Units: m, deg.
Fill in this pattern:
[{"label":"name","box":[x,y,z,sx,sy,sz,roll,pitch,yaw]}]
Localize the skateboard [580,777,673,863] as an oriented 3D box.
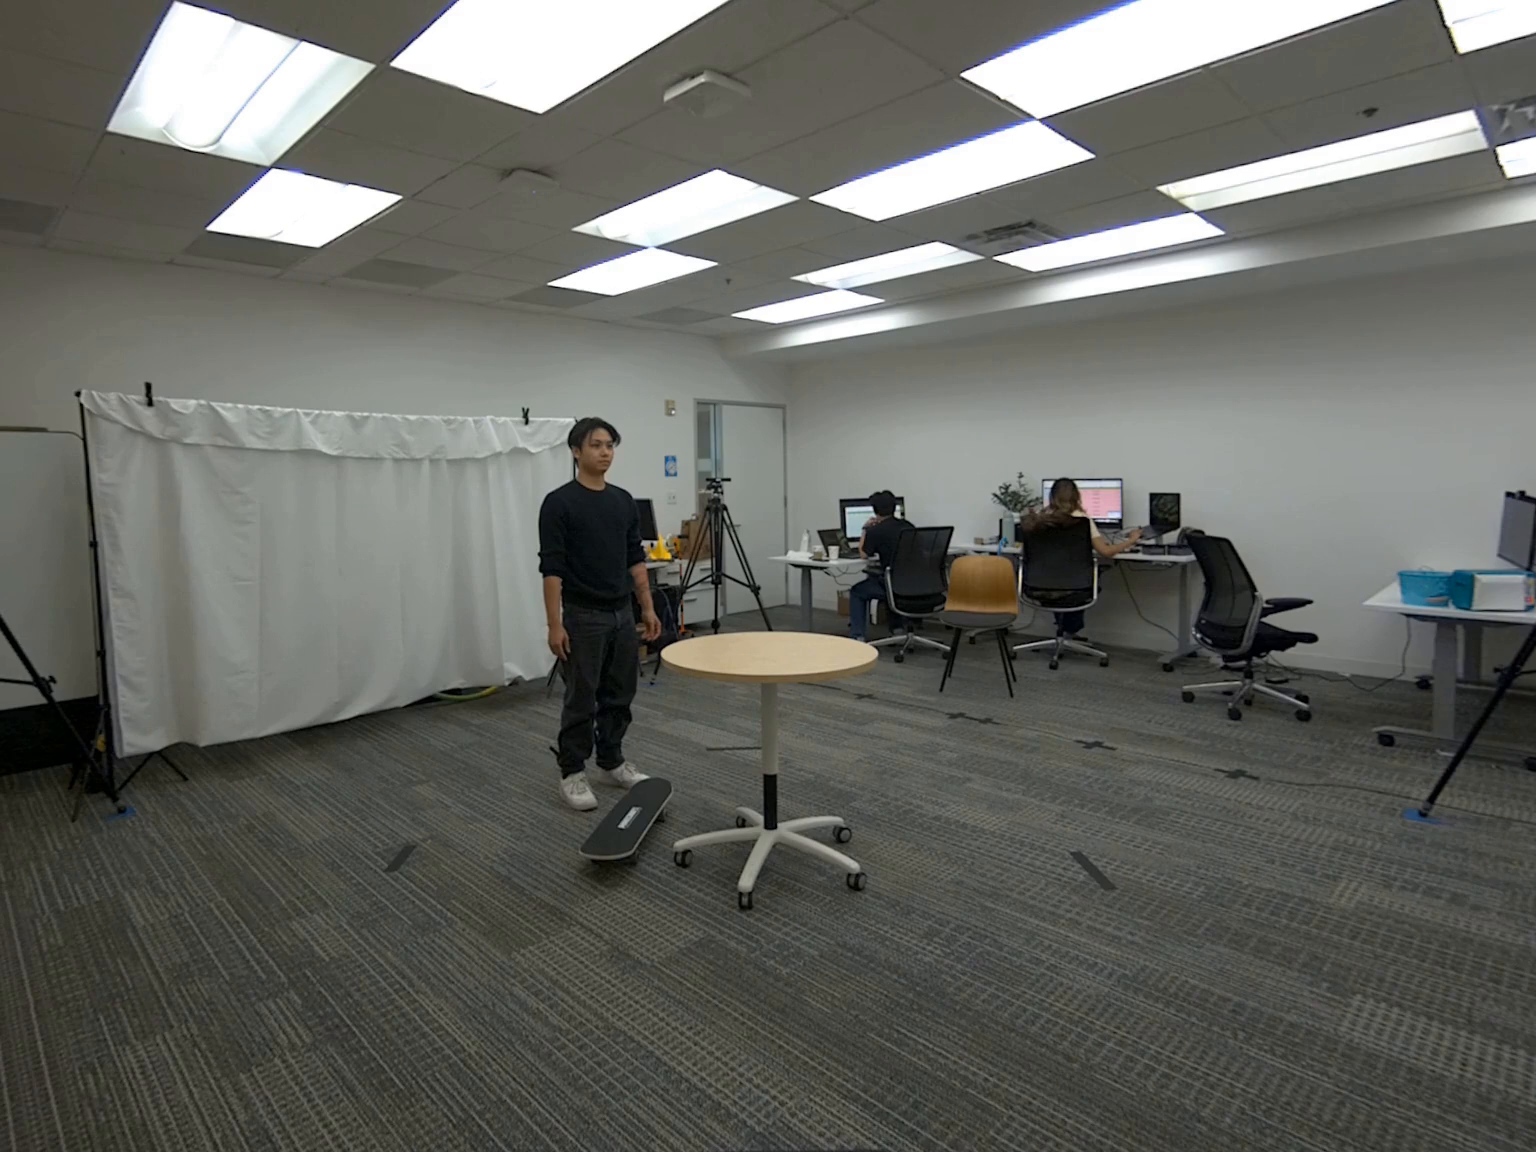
[{"label":"skateboard","box":[-0.533,0.968,3.320,0.195,0.110,0.781,0,6,8]}]
